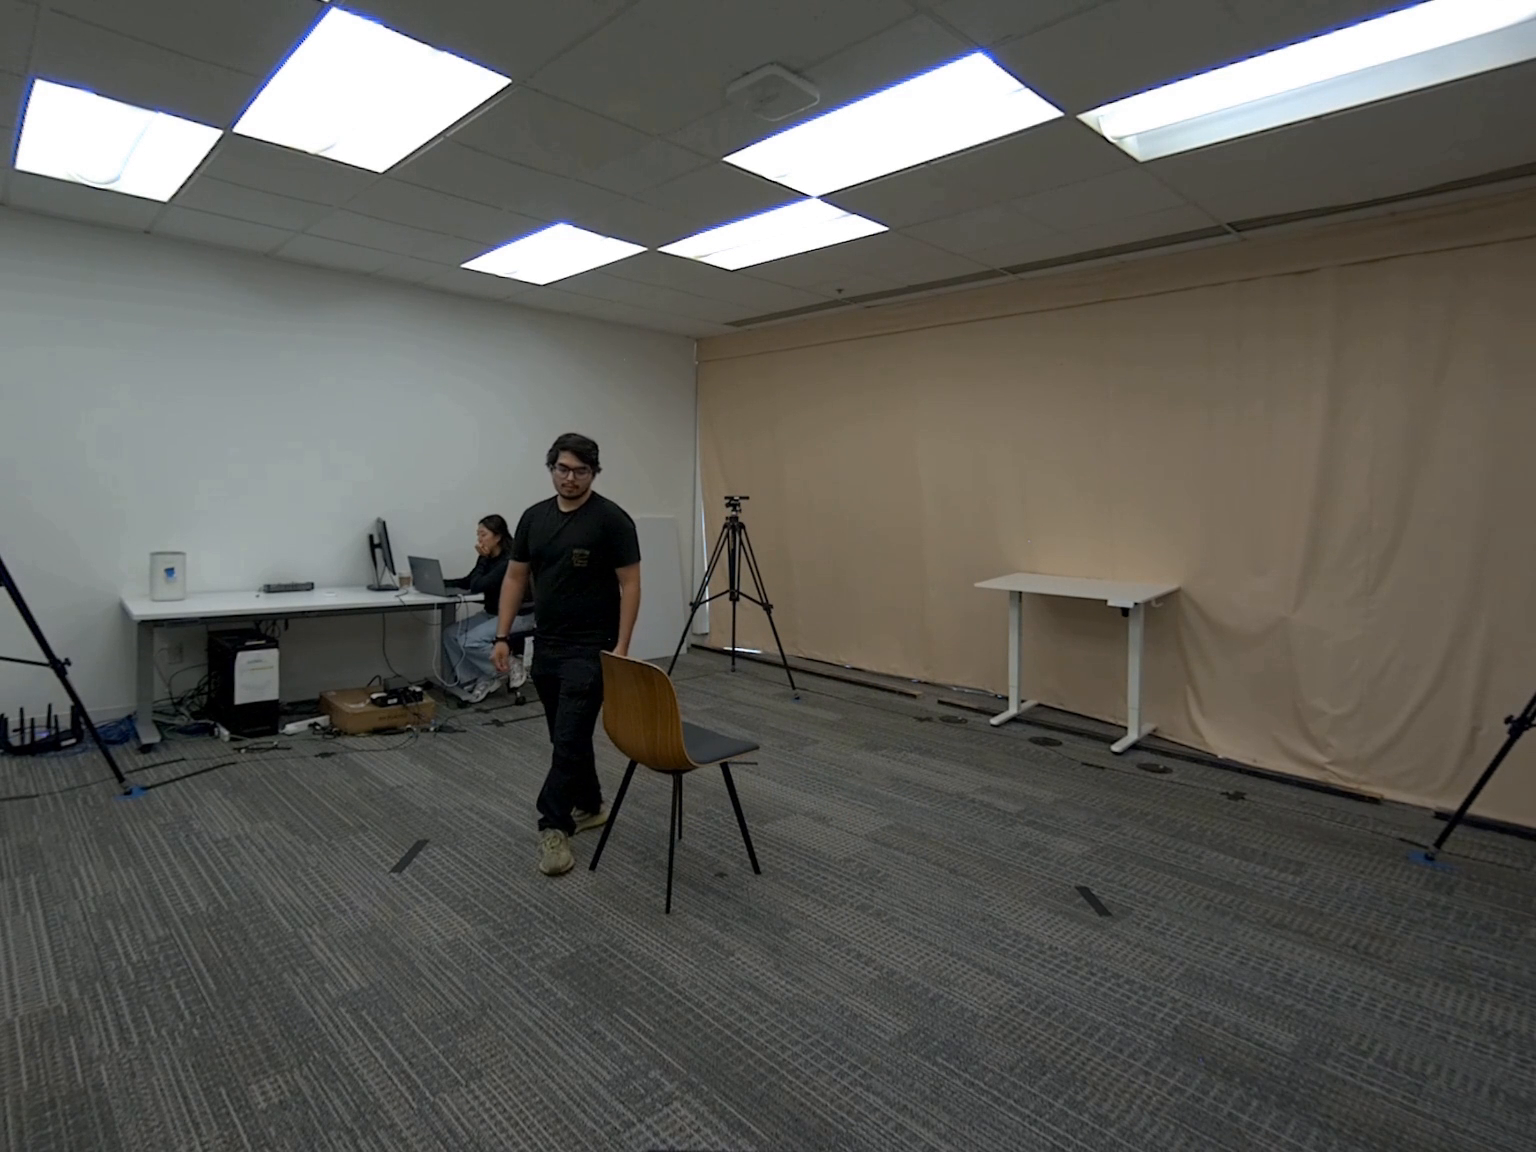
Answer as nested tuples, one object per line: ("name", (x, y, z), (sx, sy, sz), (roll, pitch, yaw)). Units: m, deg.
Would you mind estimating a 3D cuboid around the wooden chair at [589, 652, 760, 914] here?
("wooden chair", (-0.334, 0.674, 3.090), (0.490, 0.873, 0.512), (4, 9, 45))
